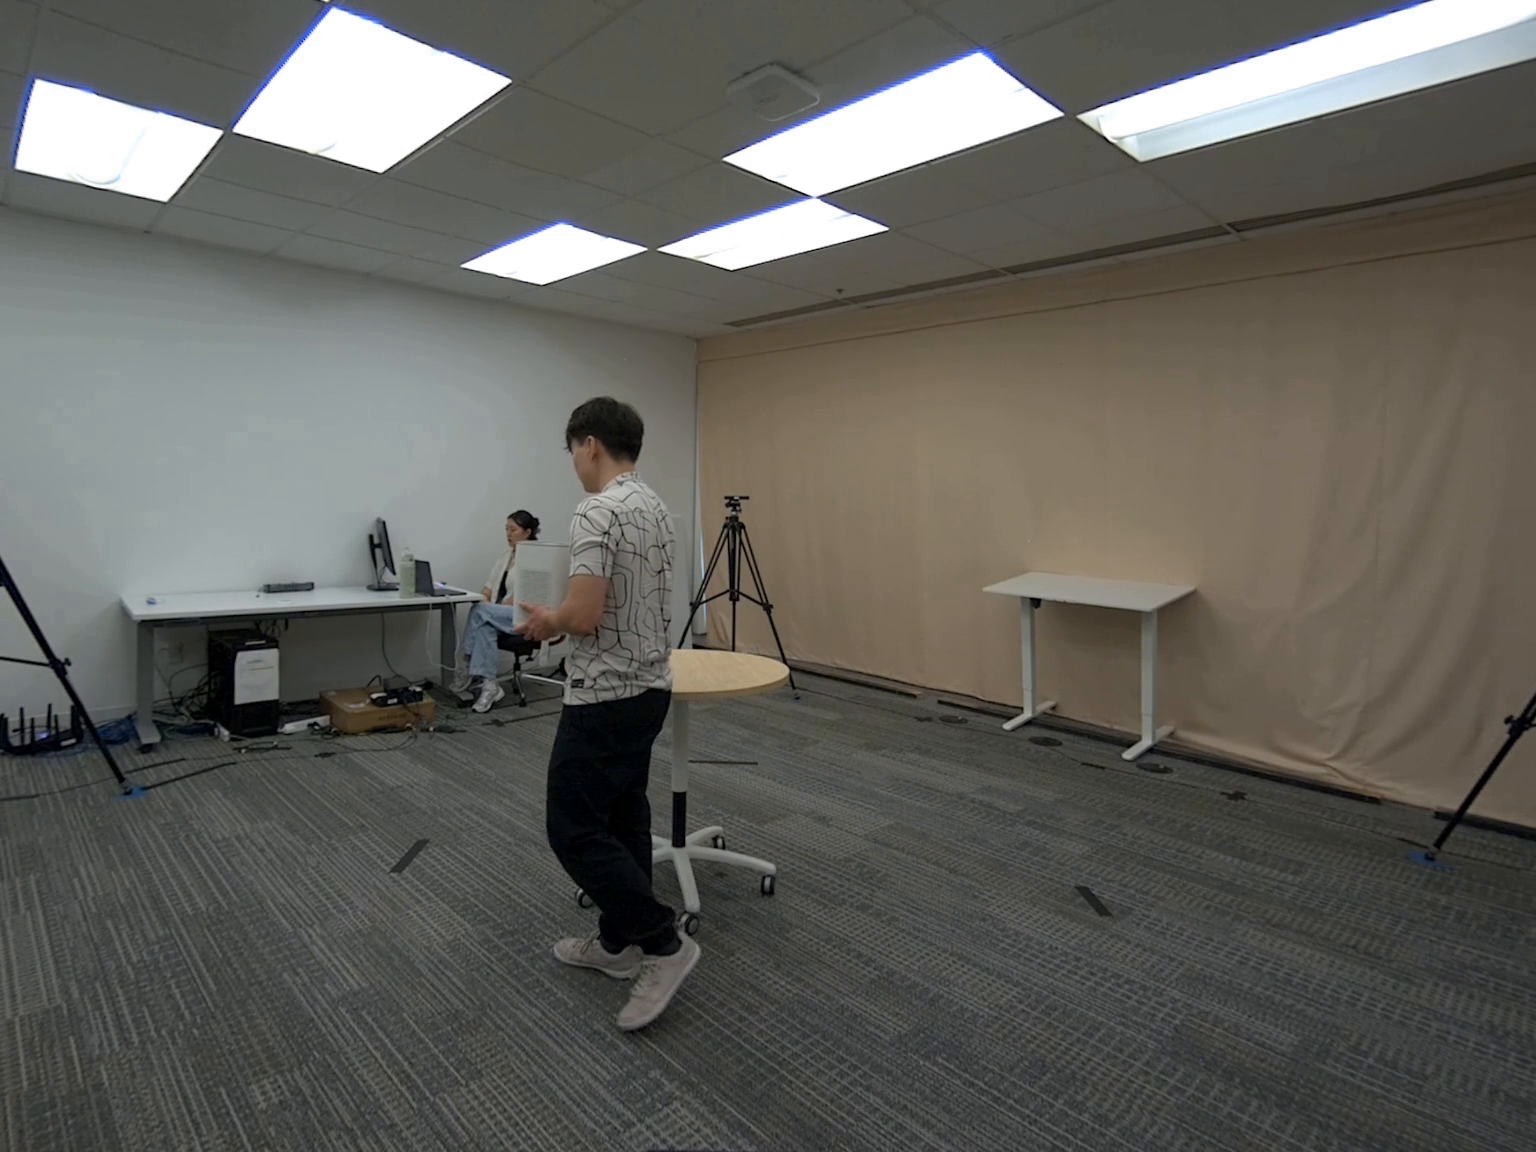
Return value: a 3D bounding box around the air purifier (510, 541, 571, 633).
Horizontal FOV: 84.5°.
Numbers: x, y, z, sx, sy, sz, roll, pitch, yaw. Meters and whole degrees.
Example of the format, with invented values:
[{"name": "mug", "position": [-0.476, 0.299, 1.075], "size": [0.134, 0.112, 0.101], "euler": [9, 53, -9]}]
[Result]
[{"name": "air purifier", "position": [-0.651, 0.037, 2.479], "size": [0.173, 0.264, 0.170], "euler": [5, 6, 8]}]
